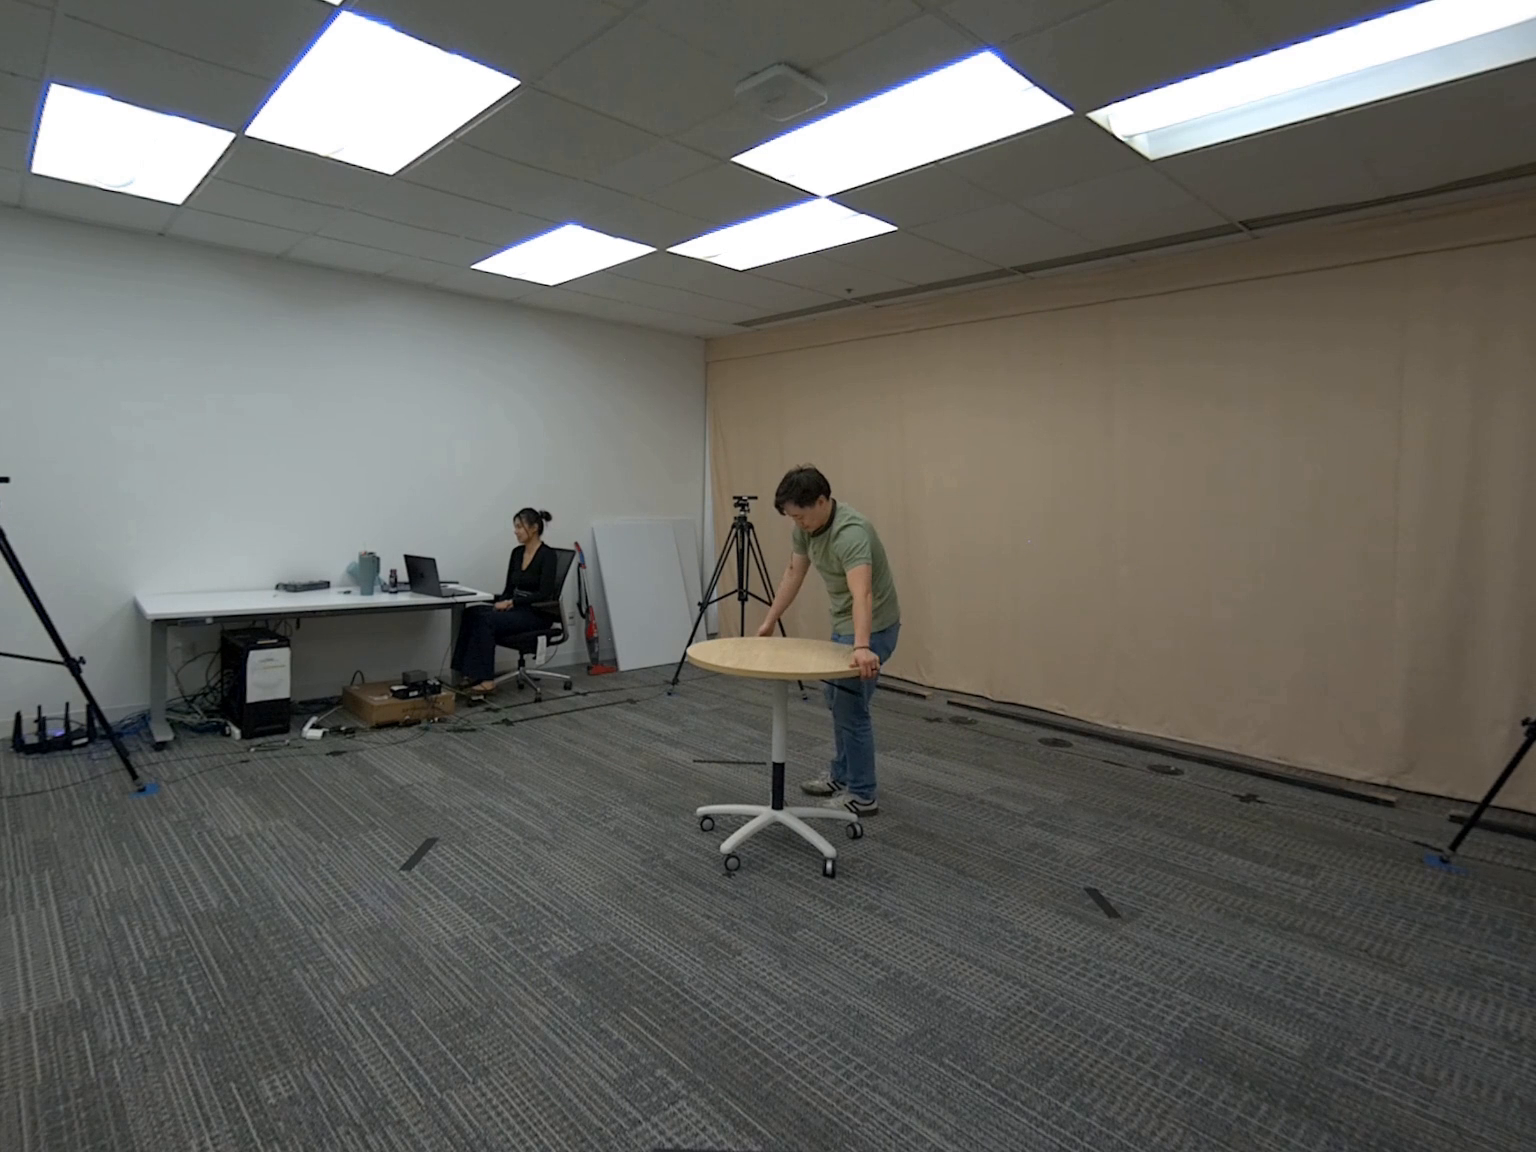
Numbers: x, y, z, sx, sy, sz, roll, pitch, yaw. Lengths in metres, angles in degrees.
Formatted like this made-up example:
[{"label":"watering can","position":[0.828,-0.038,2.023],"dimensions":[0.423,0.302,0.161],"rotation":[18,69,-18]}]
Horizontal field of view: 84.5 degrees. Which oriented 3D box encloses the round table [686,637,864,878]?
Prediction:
[{"label":"round table","position":[0.038,0.696,3.385],"dimensions":[0.763,0.792,0.766],"rotation":[2,4,-1]}]
